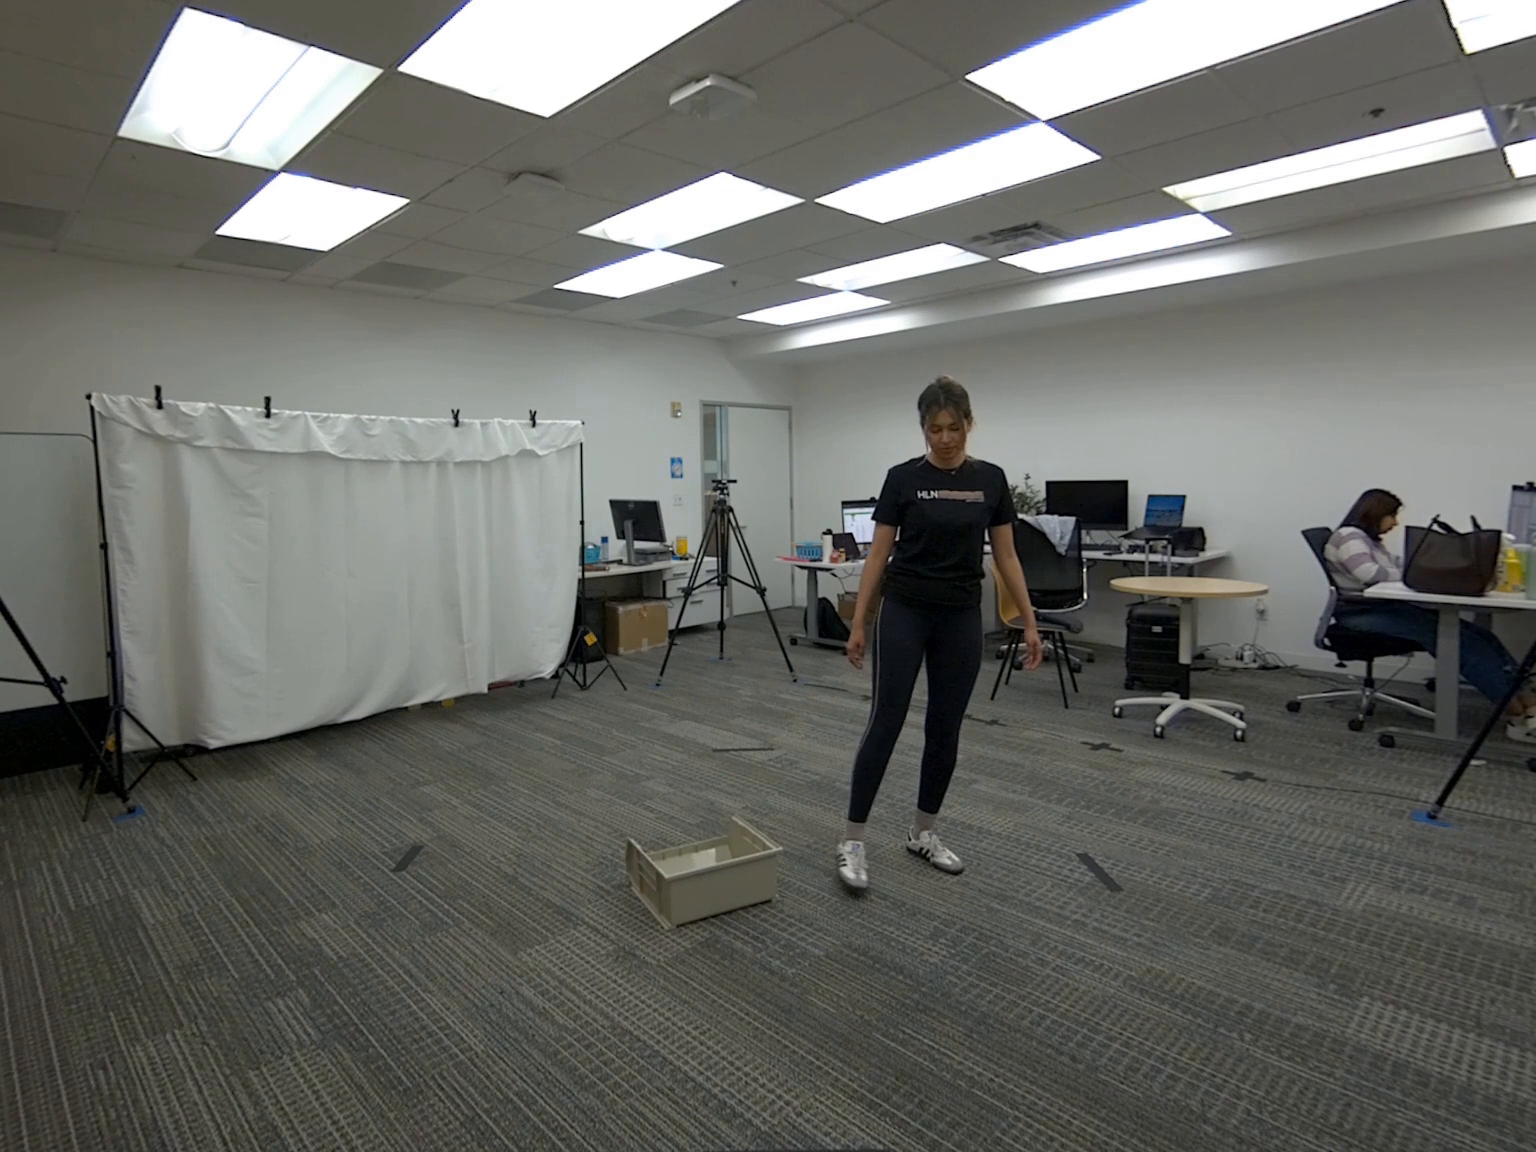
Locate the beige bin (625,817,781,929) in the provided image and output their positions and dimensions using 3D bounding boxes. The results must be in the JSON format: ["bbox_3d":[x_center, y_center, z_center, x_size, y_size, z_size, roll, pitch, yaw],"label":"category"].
[{"bbox_3d":[-0.221,0.986,2.894,0.413,0.188,0.388,-4,8,-29],"label":"beige bin"}]
